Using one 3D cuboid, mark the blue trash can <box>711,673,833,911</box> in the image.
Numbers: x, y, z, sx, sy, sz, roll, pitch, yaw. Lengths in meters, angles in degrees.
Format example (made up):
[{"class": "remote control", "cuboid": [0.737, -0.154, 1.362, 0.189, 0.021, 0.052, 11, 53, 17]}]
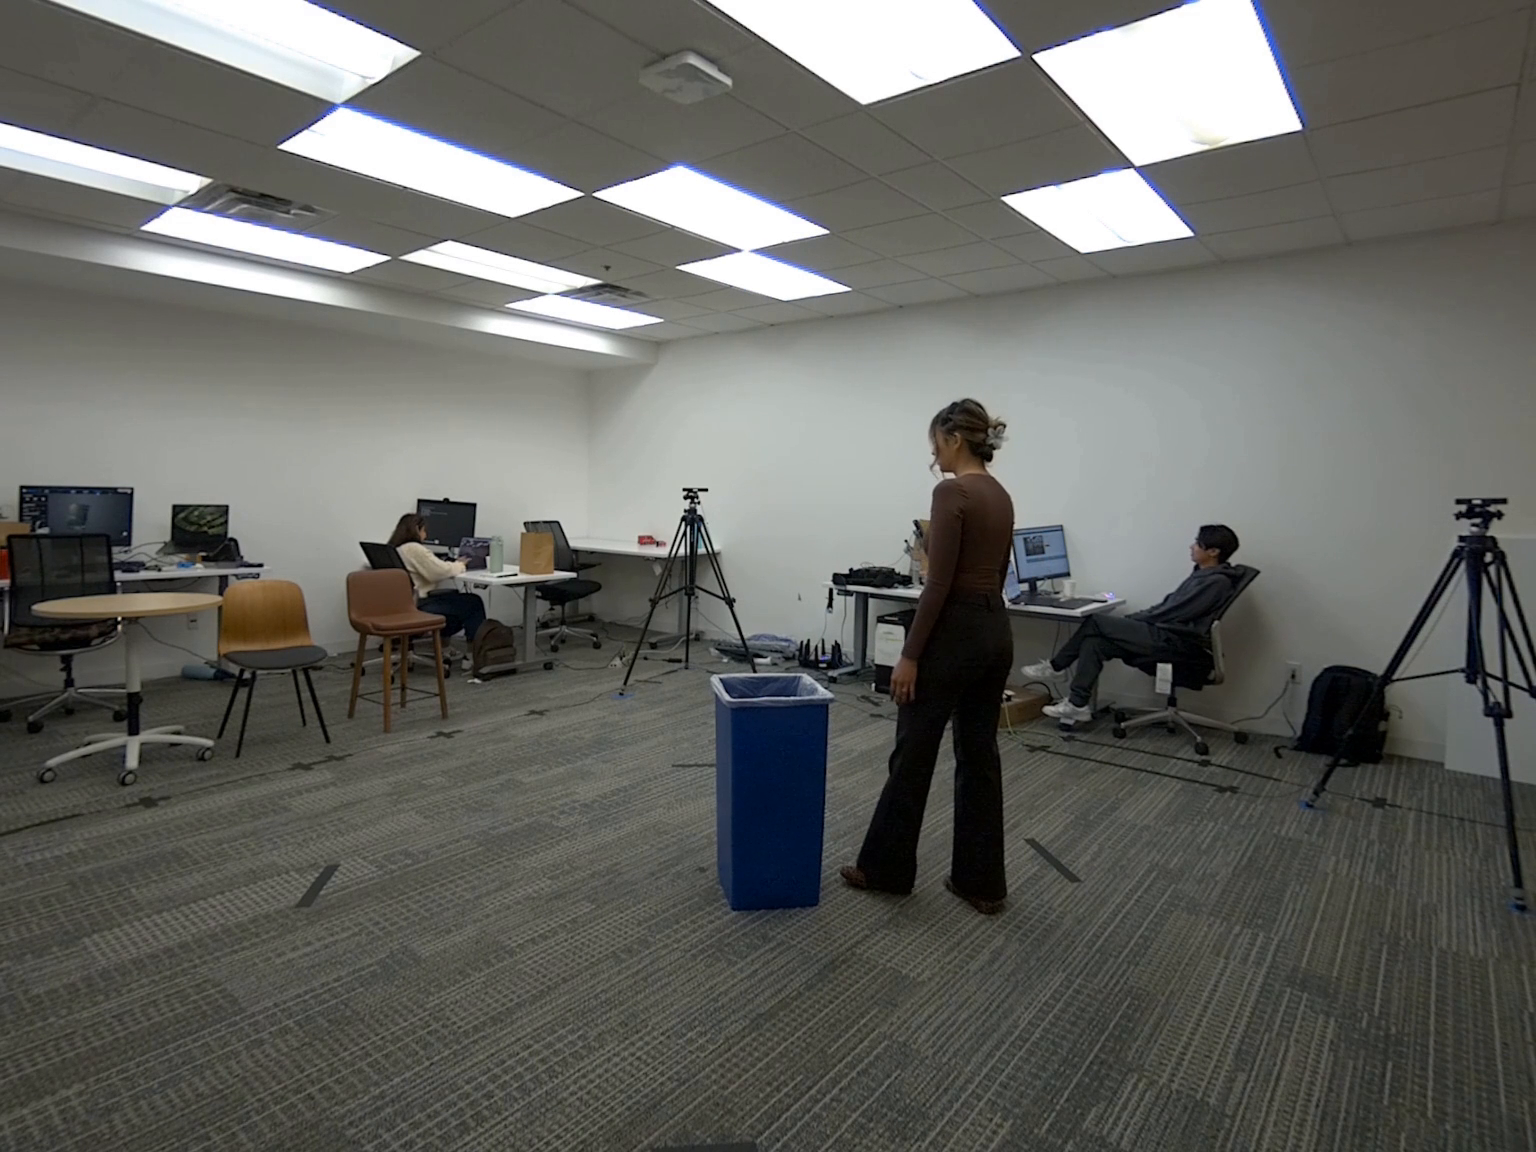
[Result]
[{"class": "blue trash can", "cuboid": [-0.012, 0.731, 2.959, 0.373, 0.711, 0.380, 0, 4, -12]}]
